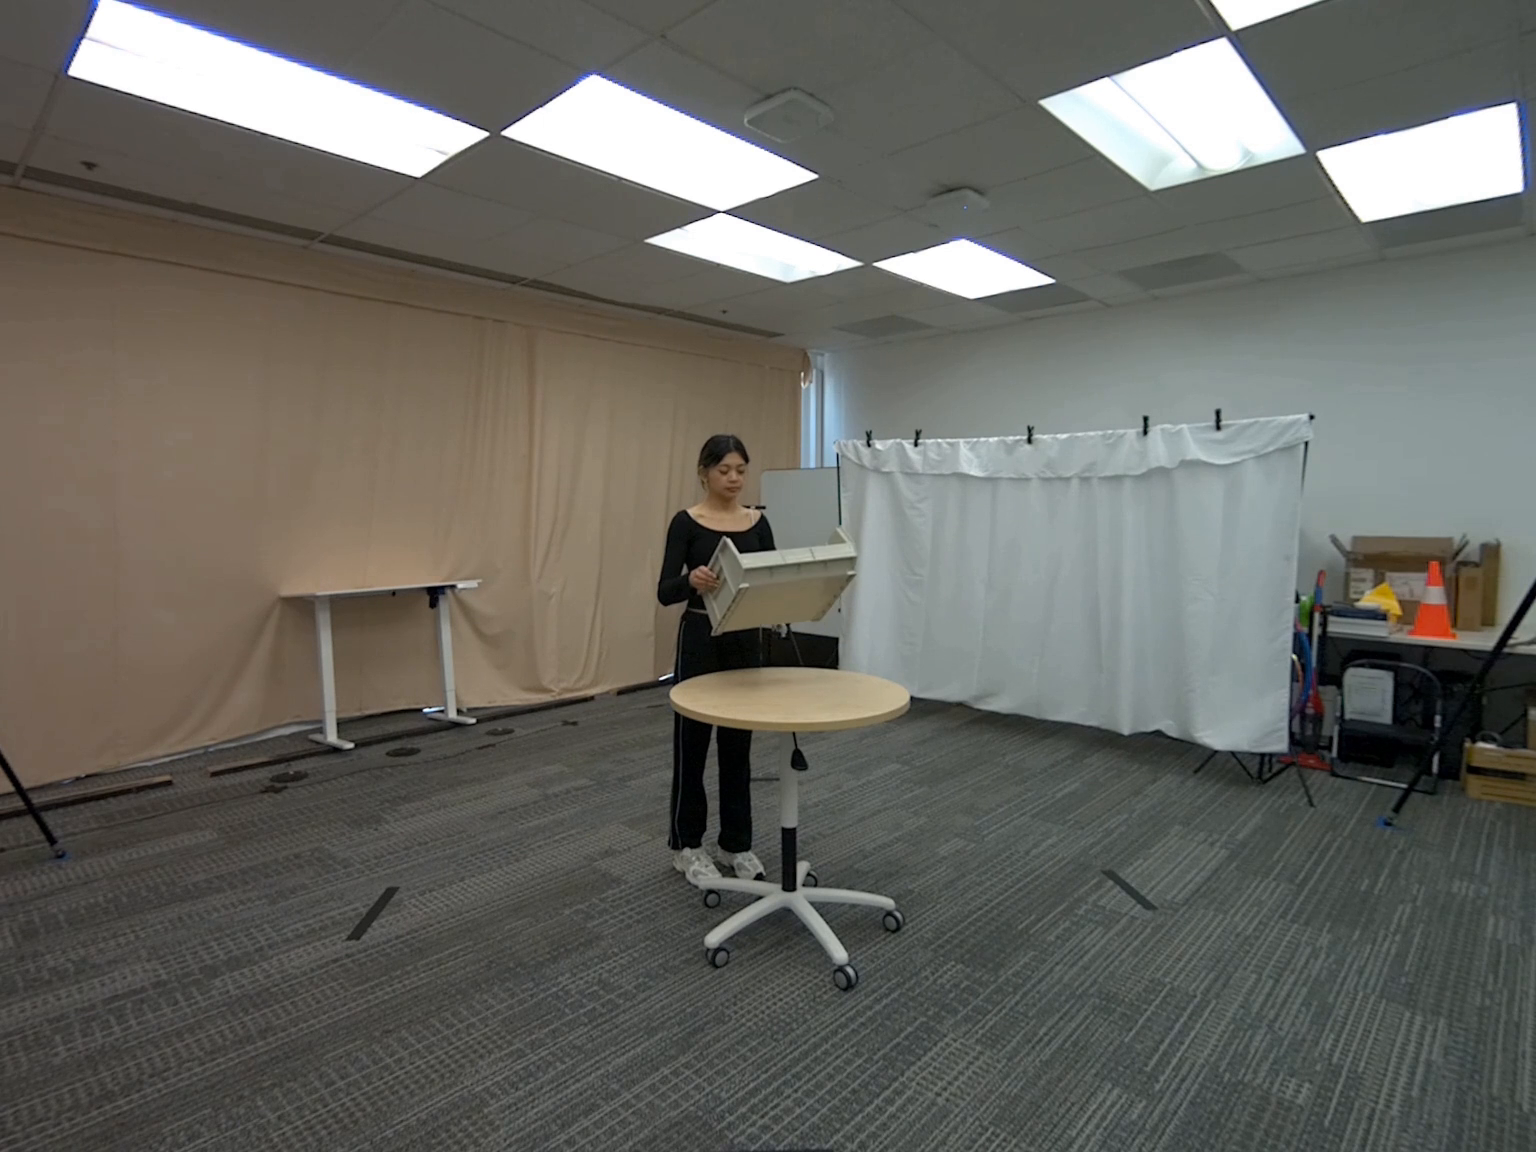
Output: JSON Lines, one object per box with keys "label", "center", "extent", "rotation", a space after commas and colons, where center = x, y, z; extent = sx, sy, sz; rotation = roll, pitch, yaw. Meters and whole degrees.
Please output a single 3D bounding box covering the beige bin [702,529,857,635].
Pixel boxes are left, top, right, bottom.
{"label": "beige bin", "center": [0.032, 0.015, 2.750], "extent": [0.413, 0.193, 0.377], "rotation": [-6, -30, -24]}
